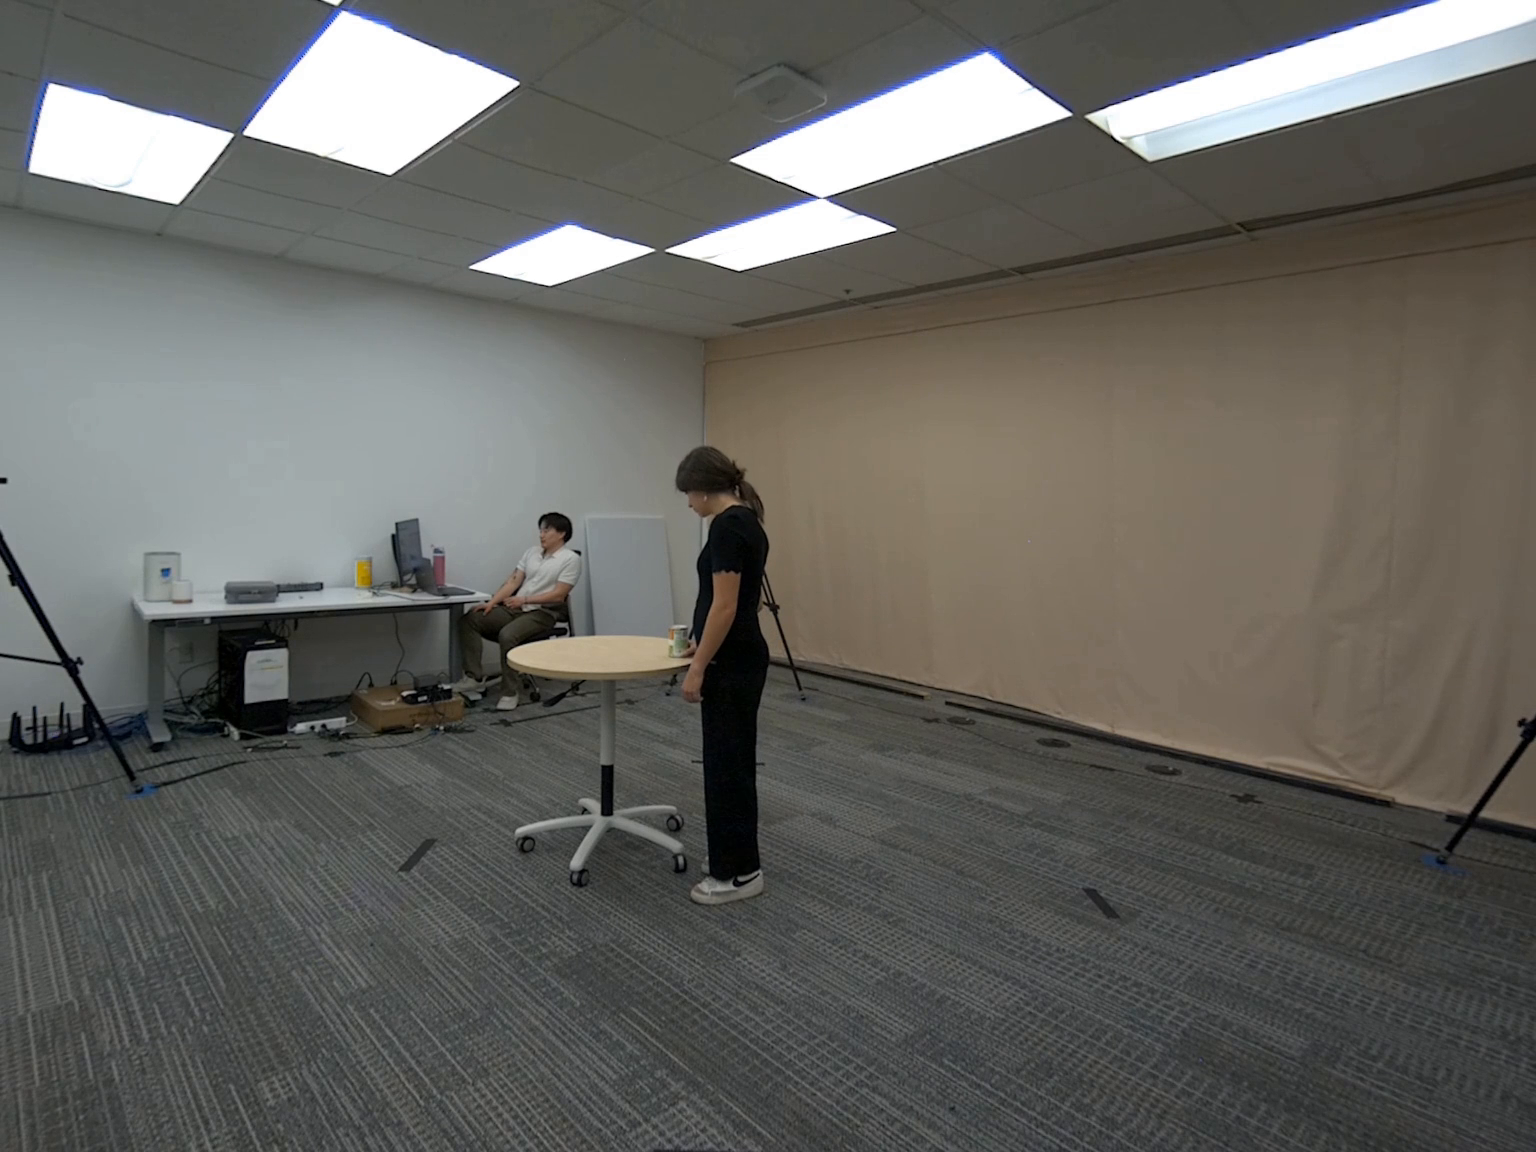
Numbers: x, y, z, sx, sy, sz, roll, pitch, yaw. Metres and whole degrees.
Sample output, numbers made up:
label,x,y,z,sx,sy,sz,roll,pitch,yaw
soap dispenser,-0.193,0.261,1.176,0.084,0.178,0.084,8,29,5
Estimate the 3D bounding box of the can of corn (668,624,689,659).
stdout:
label,x,y,z,sx,sy,sz,roll,pitch,yaw
can of corn,-0.343,0.251,3.195,0.074,0.111,0.074,4,0,-1
